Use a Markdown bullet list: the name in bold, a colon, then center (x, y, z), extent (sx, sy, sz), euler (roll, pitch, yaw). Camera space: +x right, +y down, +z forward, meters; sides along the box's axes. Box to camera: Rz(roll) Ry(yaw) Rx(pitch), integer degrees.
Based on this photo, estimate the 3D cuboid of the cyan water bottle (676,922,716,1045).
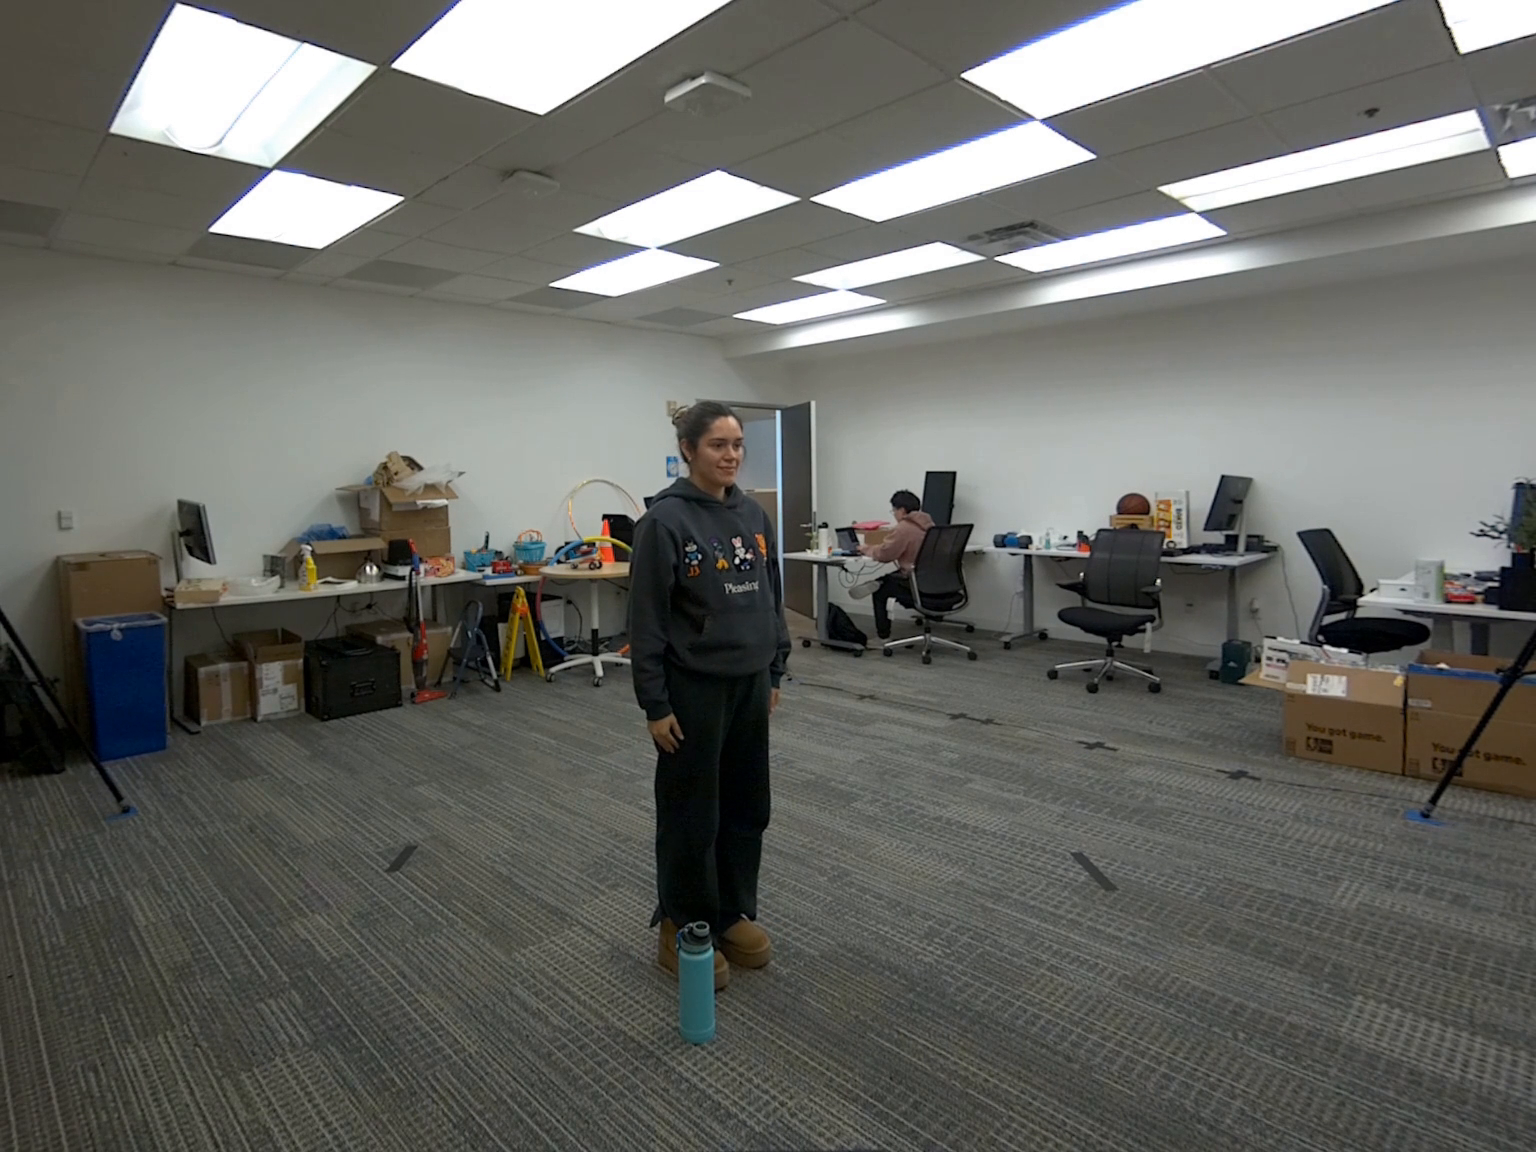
- **cyan water bottle**: center (-0.180, 1.022, 2.141), extent (0.092, 0.283, 0.092), euler (-4, 2, -1)
